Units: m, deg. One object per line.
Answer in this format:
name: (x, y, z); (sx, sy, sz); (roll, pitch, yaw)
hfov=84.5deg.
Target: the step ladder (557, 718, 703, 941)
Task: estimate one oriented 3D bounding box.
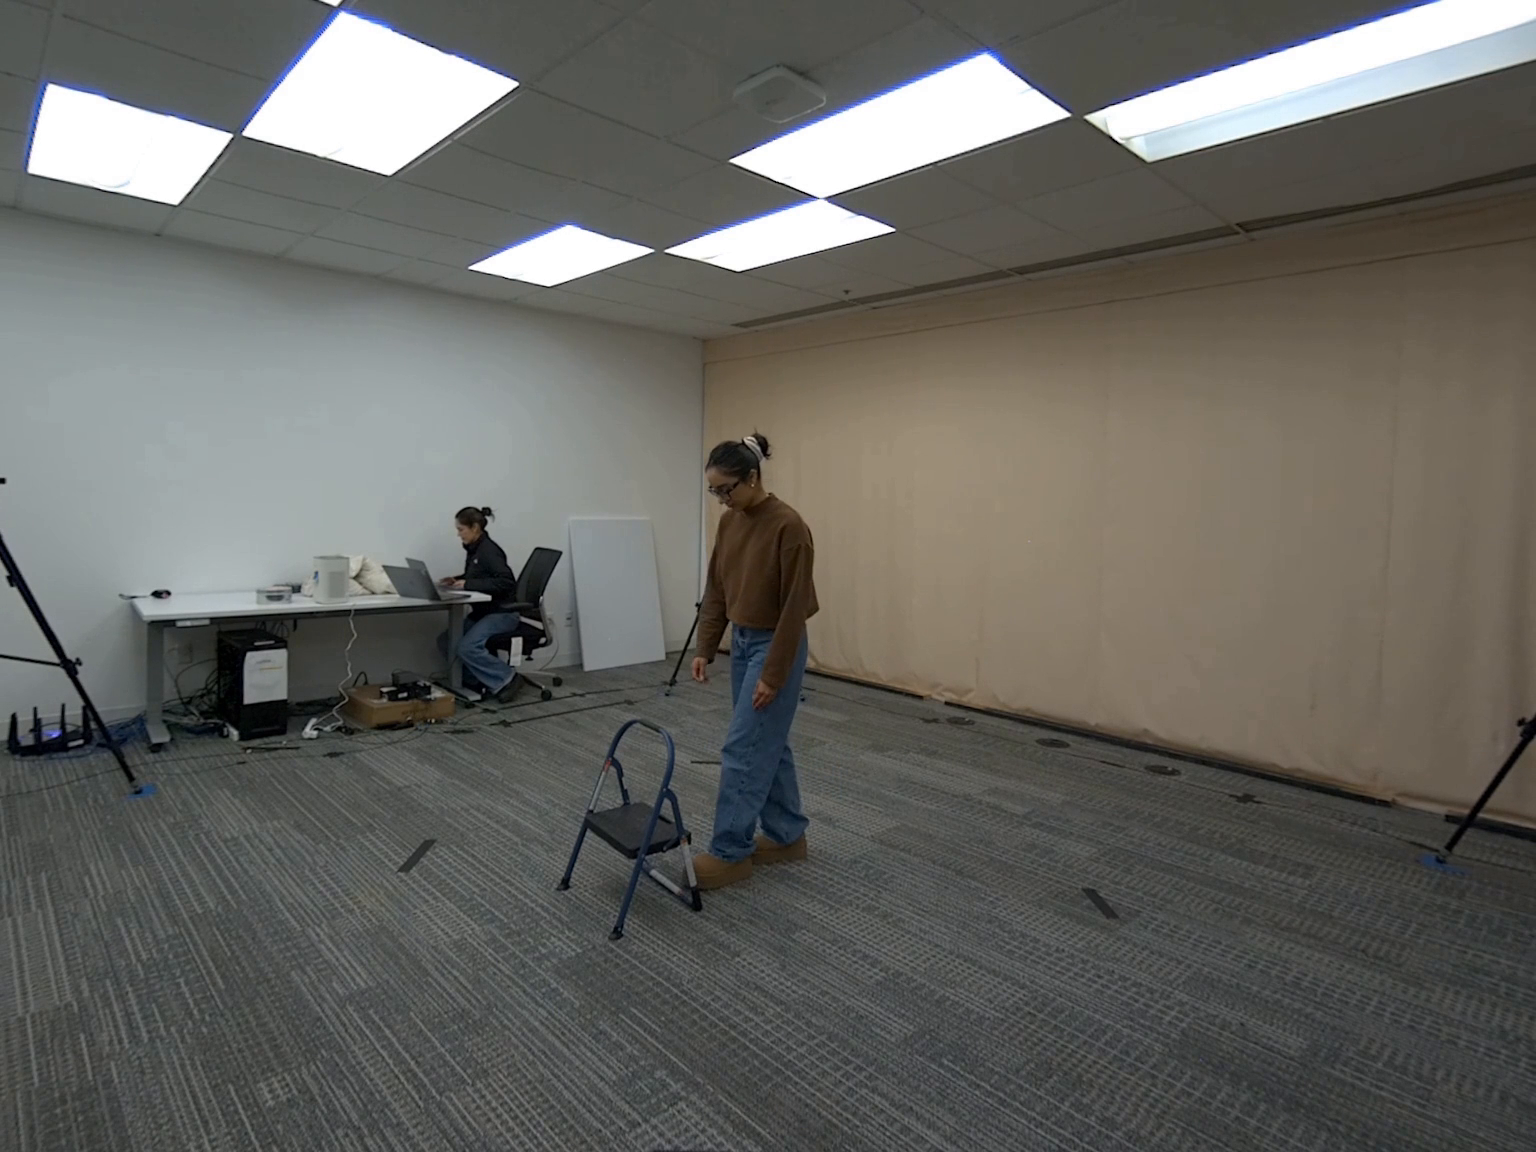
step ladder: (-0.474, 0.814, 2.885); (0.341, 0.605, 0.441); (0, 4, -37)
